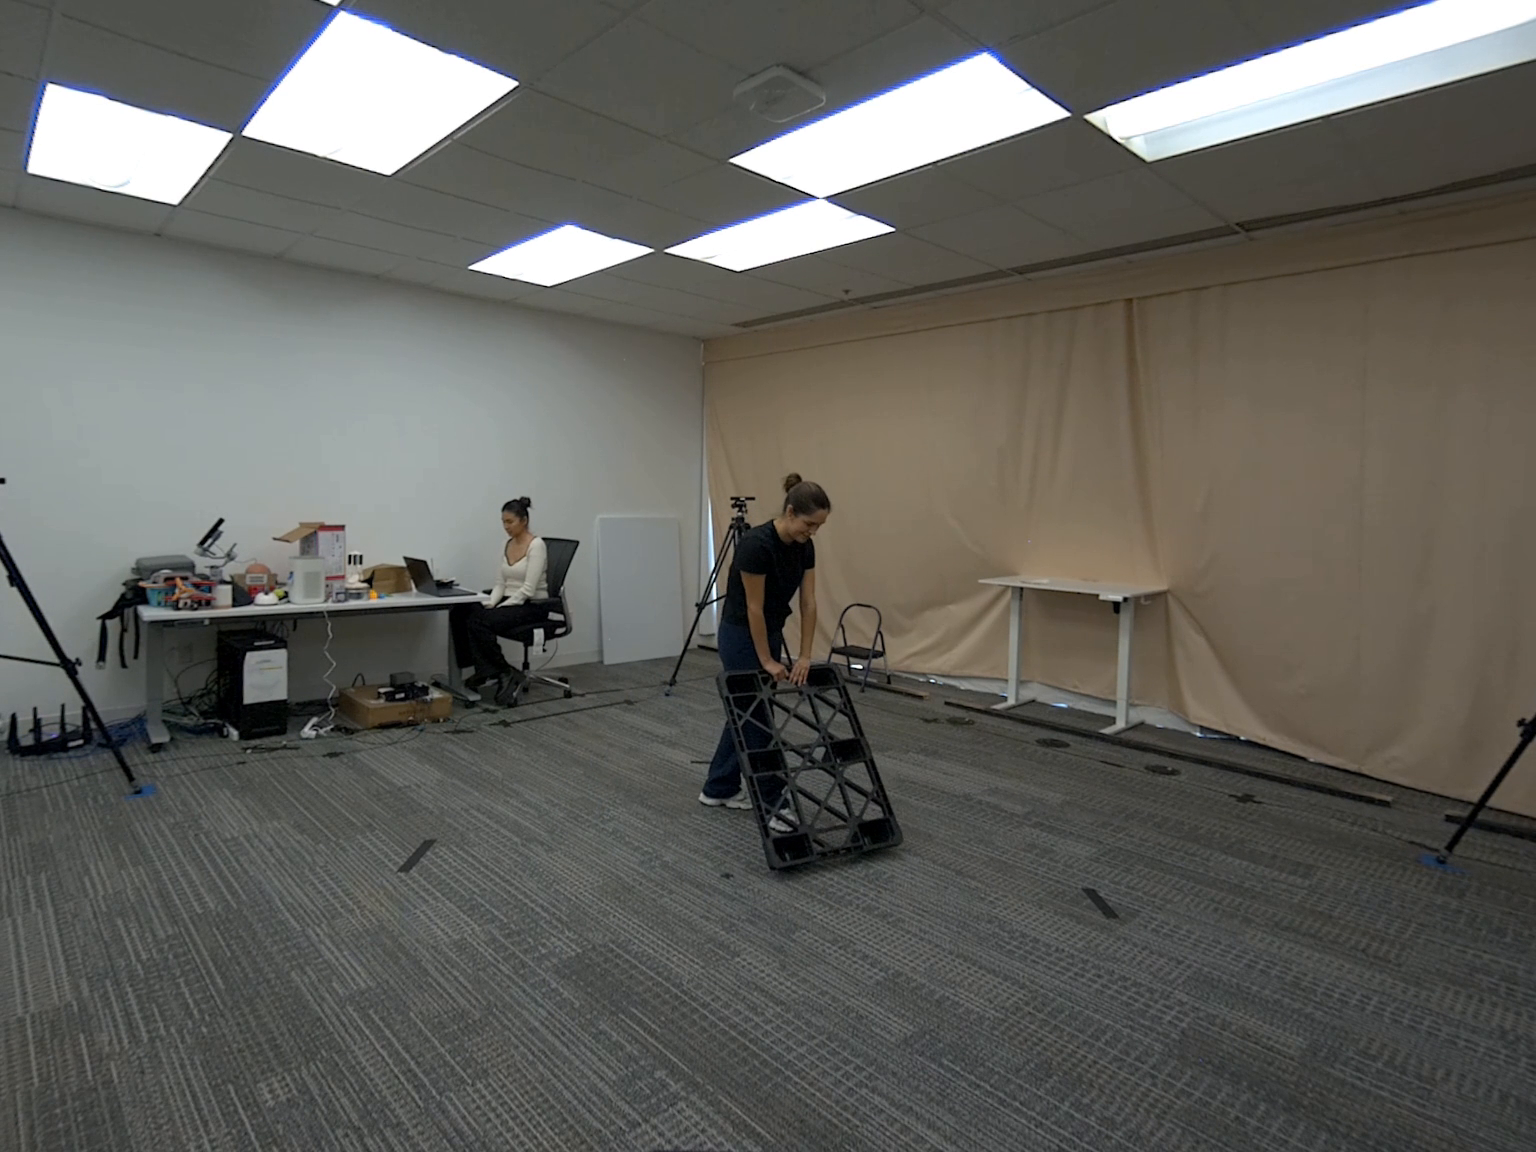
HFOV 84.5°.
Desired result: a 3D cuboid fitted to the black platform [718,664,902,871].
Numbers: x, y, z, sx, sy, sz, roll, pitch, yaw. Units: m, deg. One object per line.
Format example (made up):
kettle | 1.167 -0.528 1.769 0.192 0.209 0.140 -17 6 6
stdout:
black platform | 0.133 0.759 3.424 0.593 0.826 0.142 -1 -35 -28
